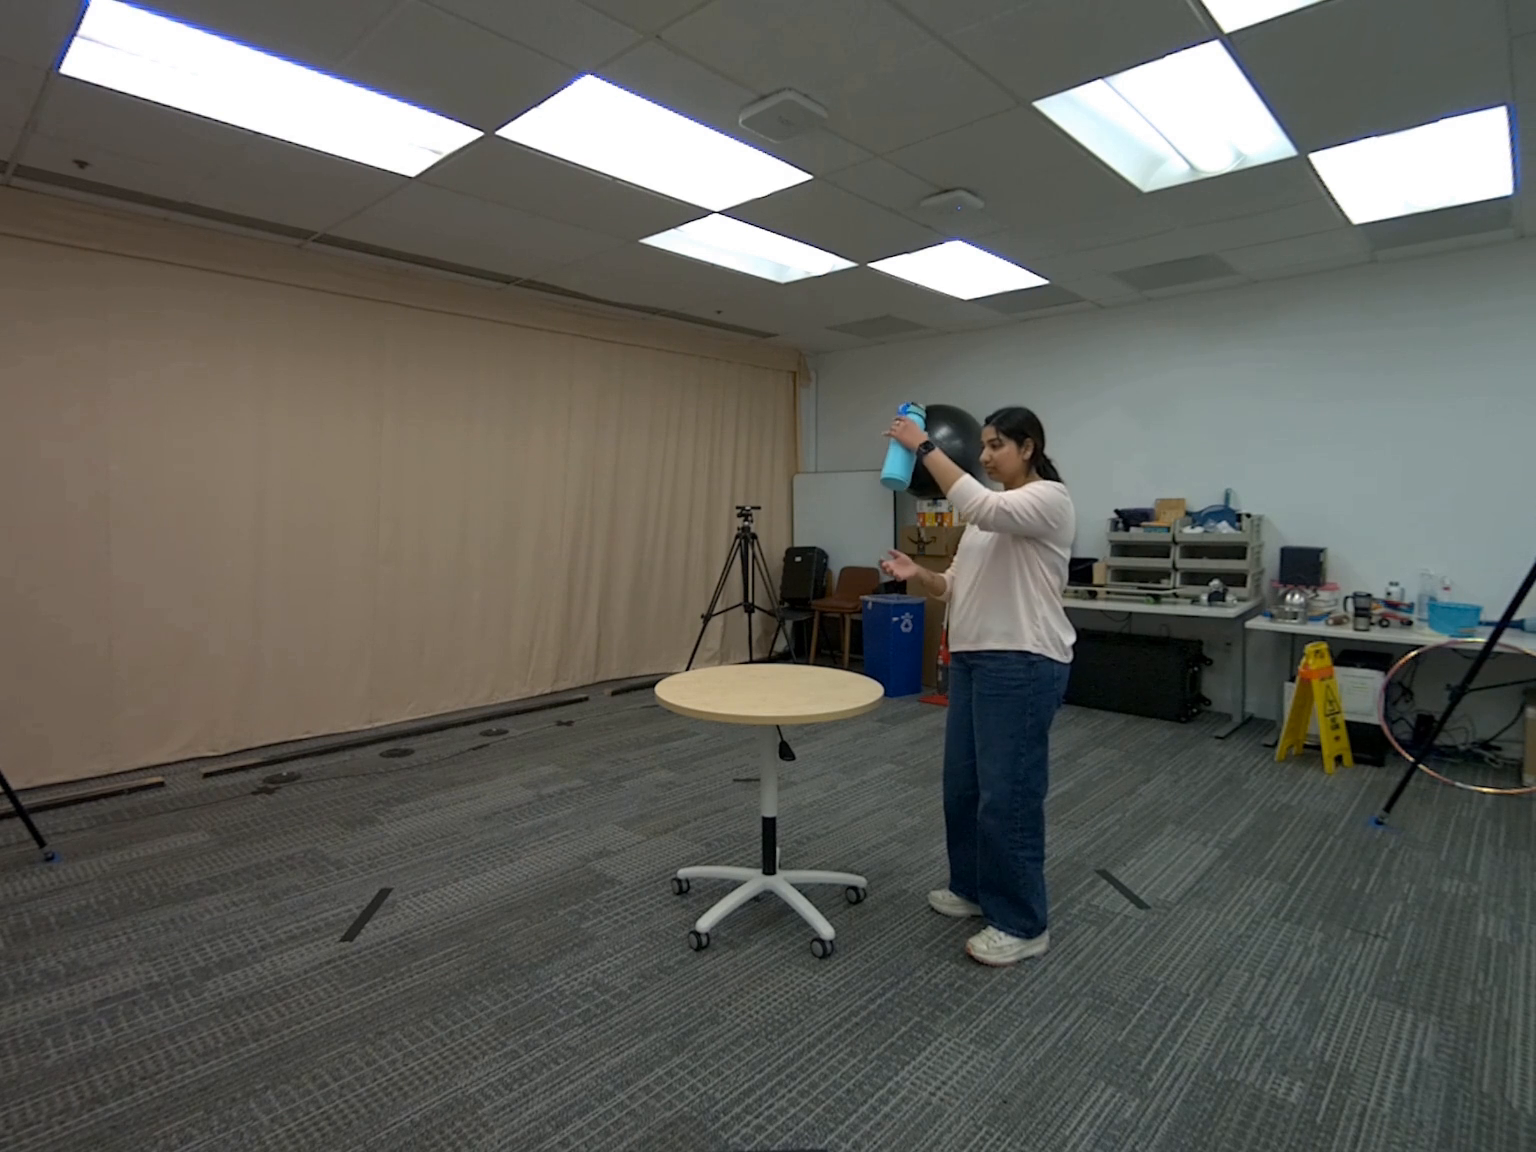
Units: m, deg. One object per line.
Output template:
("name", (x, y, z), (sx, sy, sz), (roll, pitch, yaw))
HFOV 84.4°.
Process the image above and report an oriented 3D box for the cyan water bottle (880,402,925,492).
("cyan water bottle", (0.435, -0.402, 2.587), (0.093, 0.284, 0.091), (16, -15, 2))
